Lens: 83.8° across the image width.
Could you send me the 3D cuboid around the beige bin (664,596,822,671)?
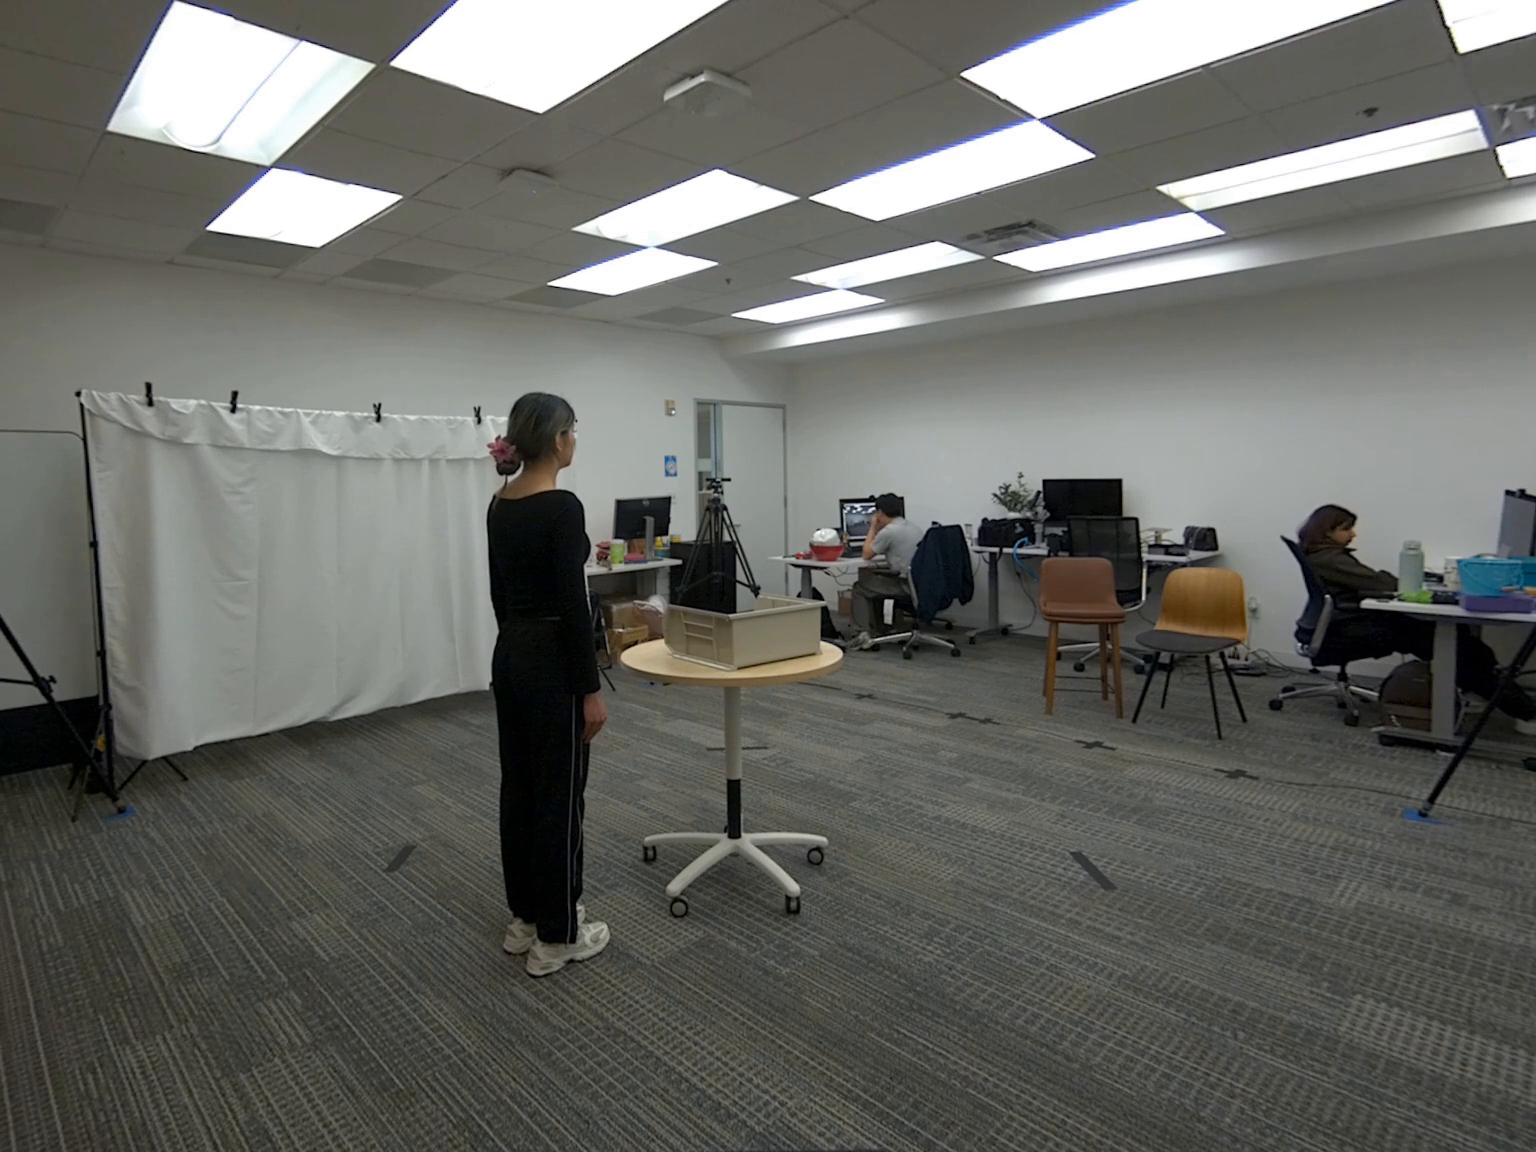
[{"bbox_3d":[-0.083,0.182,2.919,0.411,0.188,0.389,-5,8,-39],"label":"beige bin"}]
